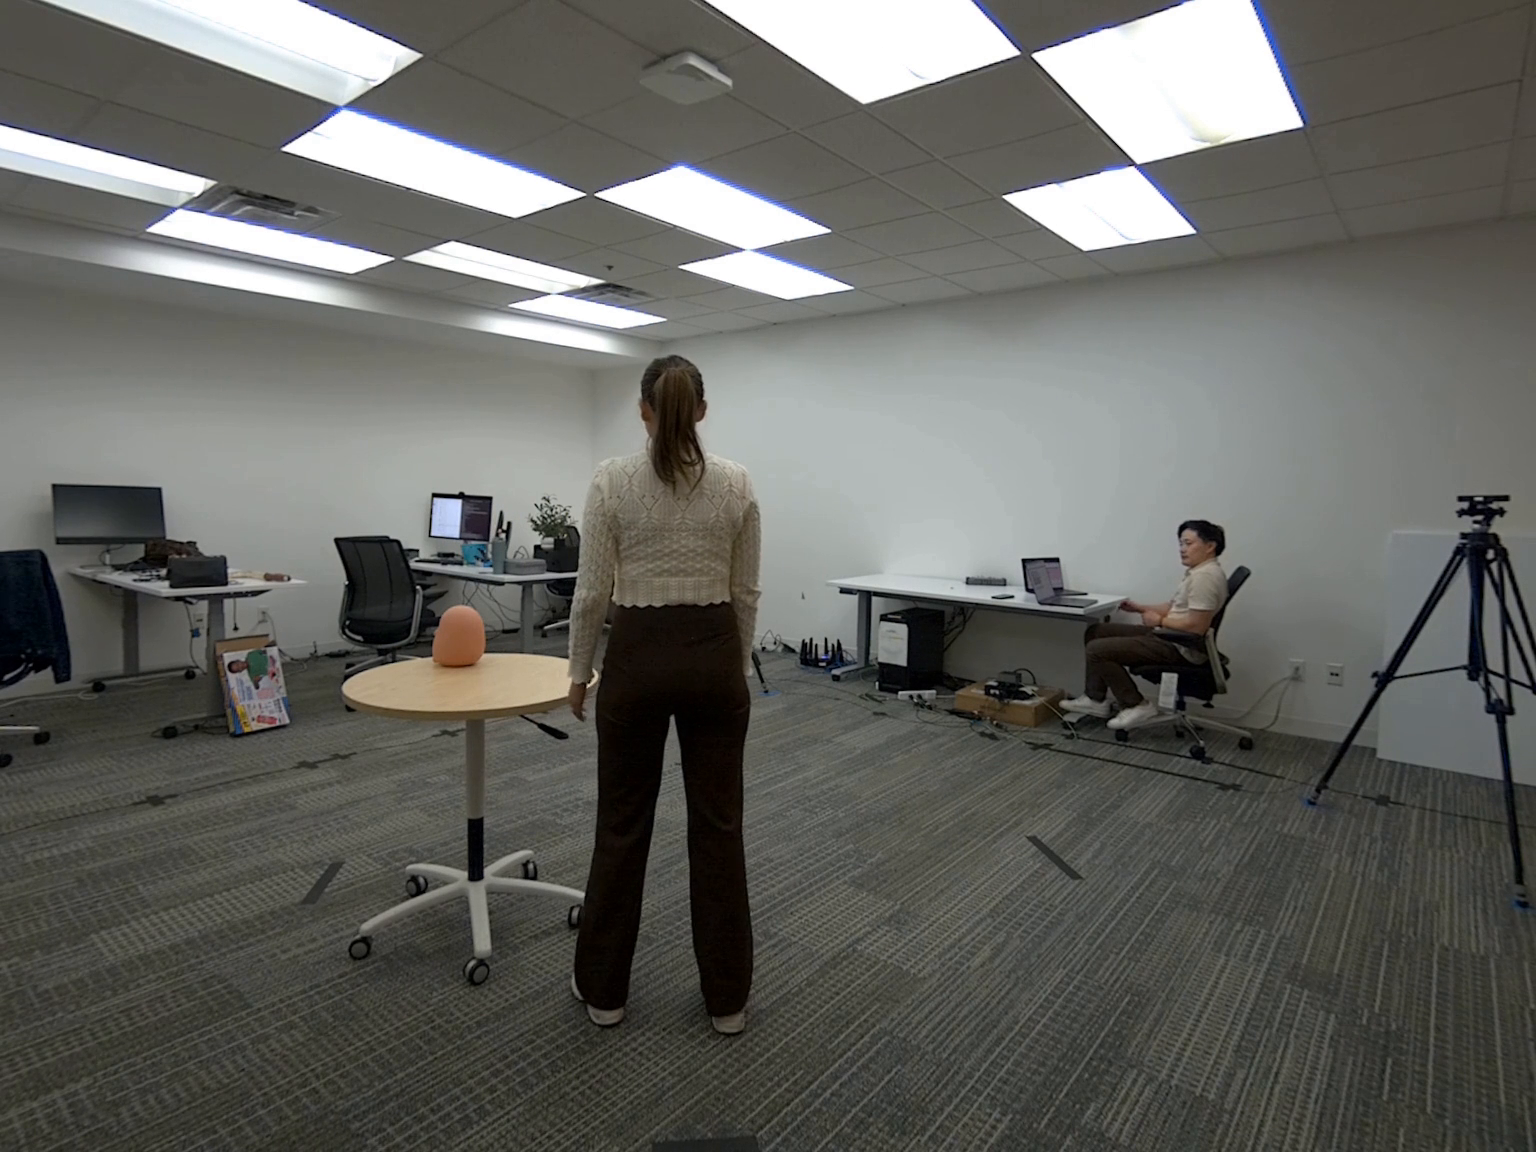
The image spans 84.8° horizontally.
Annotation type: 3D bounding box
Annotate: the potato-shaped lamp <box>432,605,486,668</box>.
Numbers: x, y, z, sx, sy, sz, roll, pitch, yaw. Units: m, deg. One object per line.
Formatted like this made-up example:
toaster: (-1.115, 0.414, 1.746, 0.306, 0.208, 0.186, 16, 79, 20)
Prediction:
potato-shaped lamp: (-1.051, 0.197, 2.853, 0.176, 0.197, 0.160, 5, 5, 29)
